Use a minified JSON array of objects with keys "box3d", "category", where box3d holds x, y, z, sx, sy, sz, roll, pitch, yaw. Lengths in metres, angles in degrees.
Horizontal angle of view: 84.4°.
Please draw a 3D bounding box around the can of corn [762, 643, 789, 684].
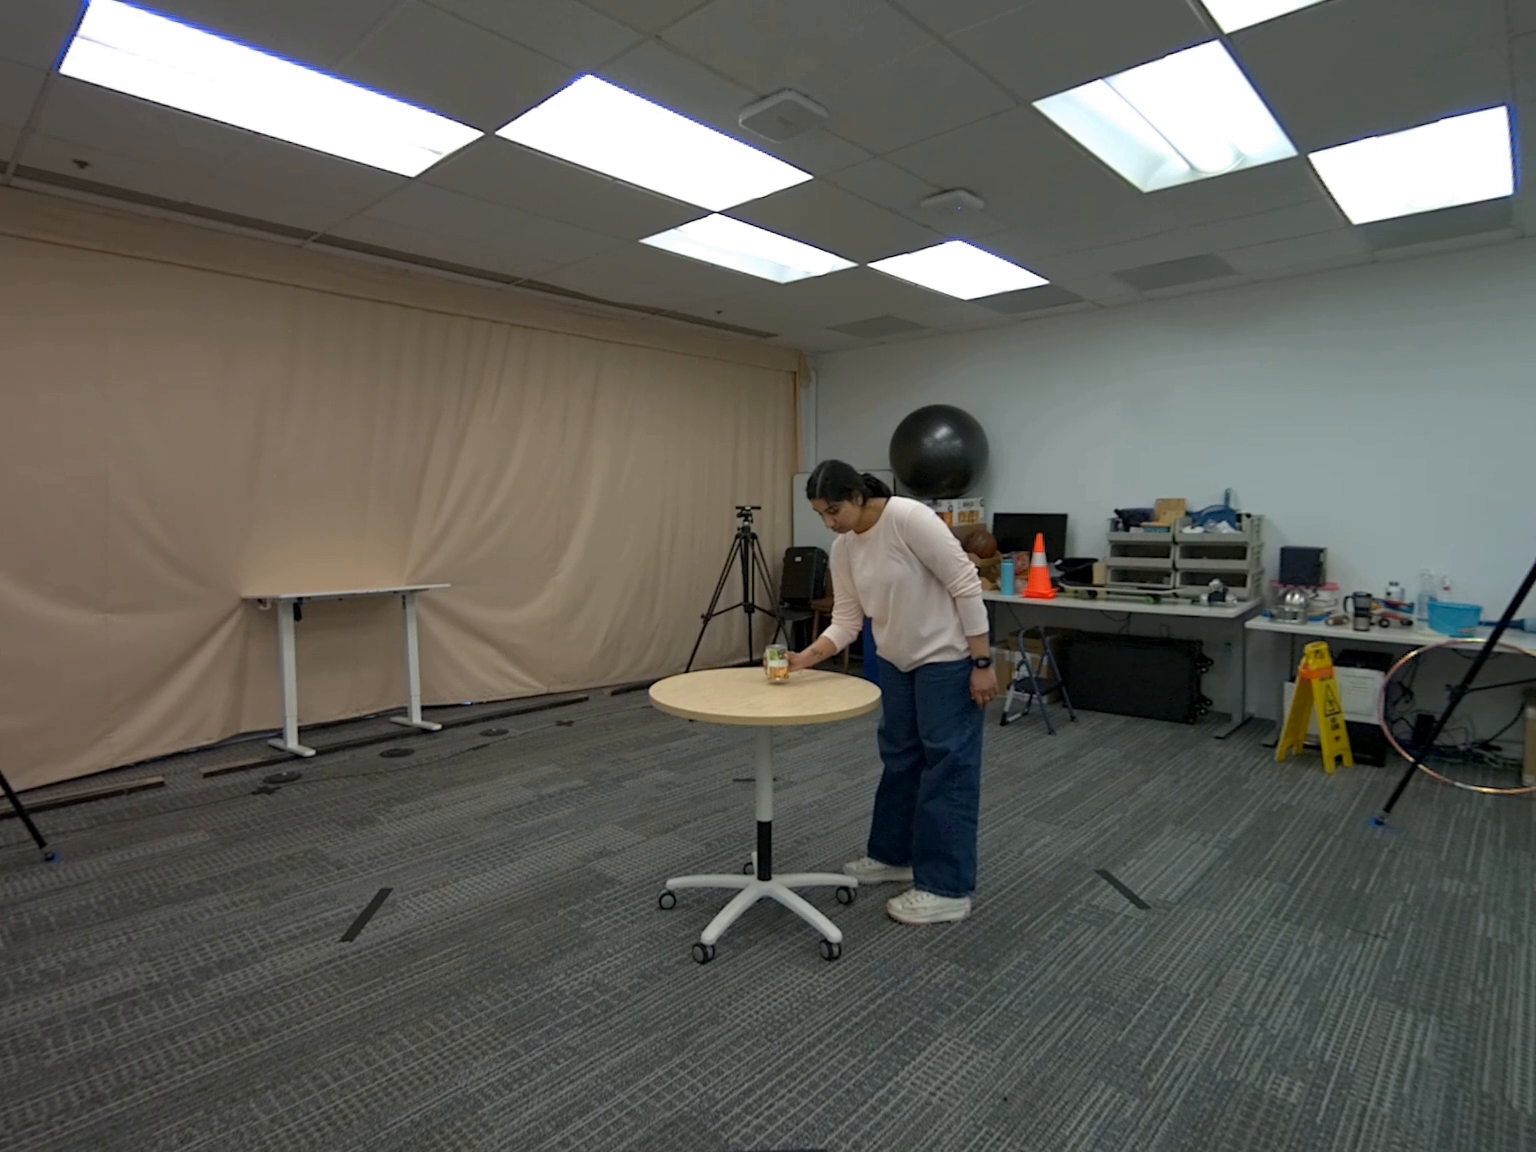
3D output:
[{"box3d":[0.035,0.298,2.883,0.074,0.111,0.074,0,-2,-2],"category":"can of corn"}]
